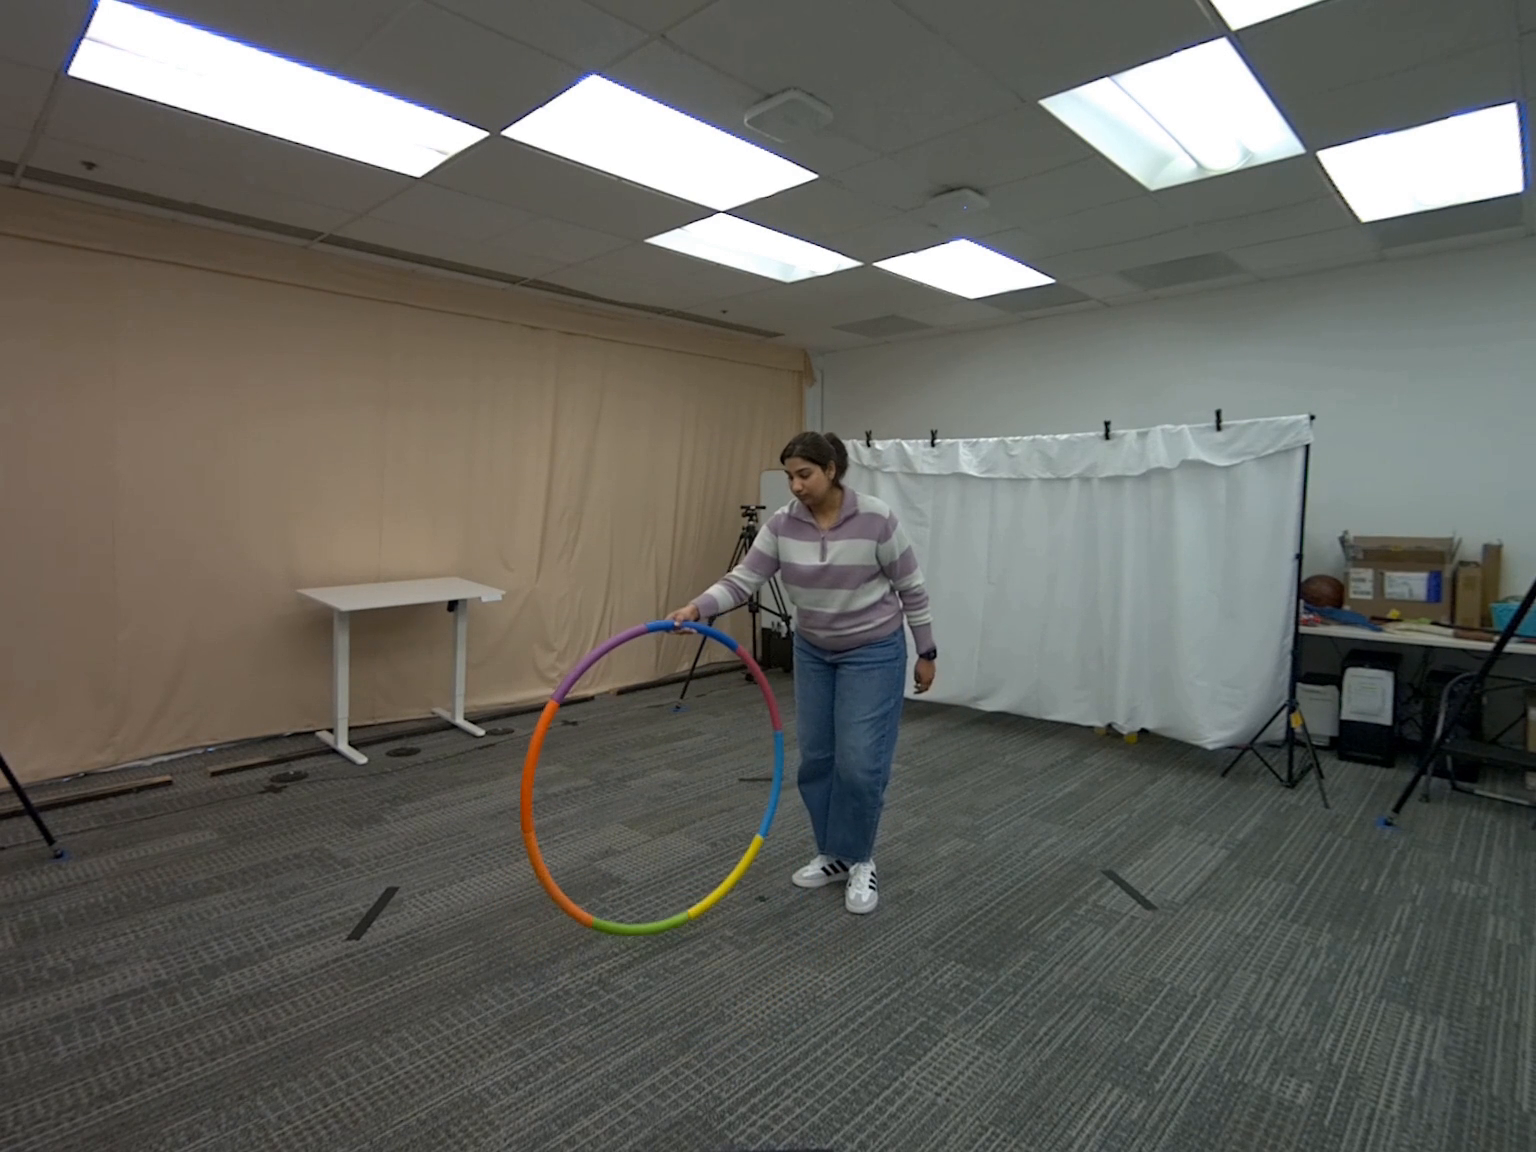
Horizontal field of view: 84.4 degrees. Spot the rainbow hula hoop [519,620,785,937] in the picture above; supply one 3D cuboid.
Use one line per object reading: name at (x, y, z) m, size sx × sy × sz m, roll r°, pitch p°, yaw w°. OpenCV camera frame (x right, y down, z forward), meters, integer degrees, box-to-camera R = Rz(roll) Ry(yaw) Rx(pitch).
rainbow hula hoop at (-0.324, 0.630, 2.674) m, size 0.956 × 0.984 × 0.053 m, roll -3°, pitch 2°, yaw -38°
